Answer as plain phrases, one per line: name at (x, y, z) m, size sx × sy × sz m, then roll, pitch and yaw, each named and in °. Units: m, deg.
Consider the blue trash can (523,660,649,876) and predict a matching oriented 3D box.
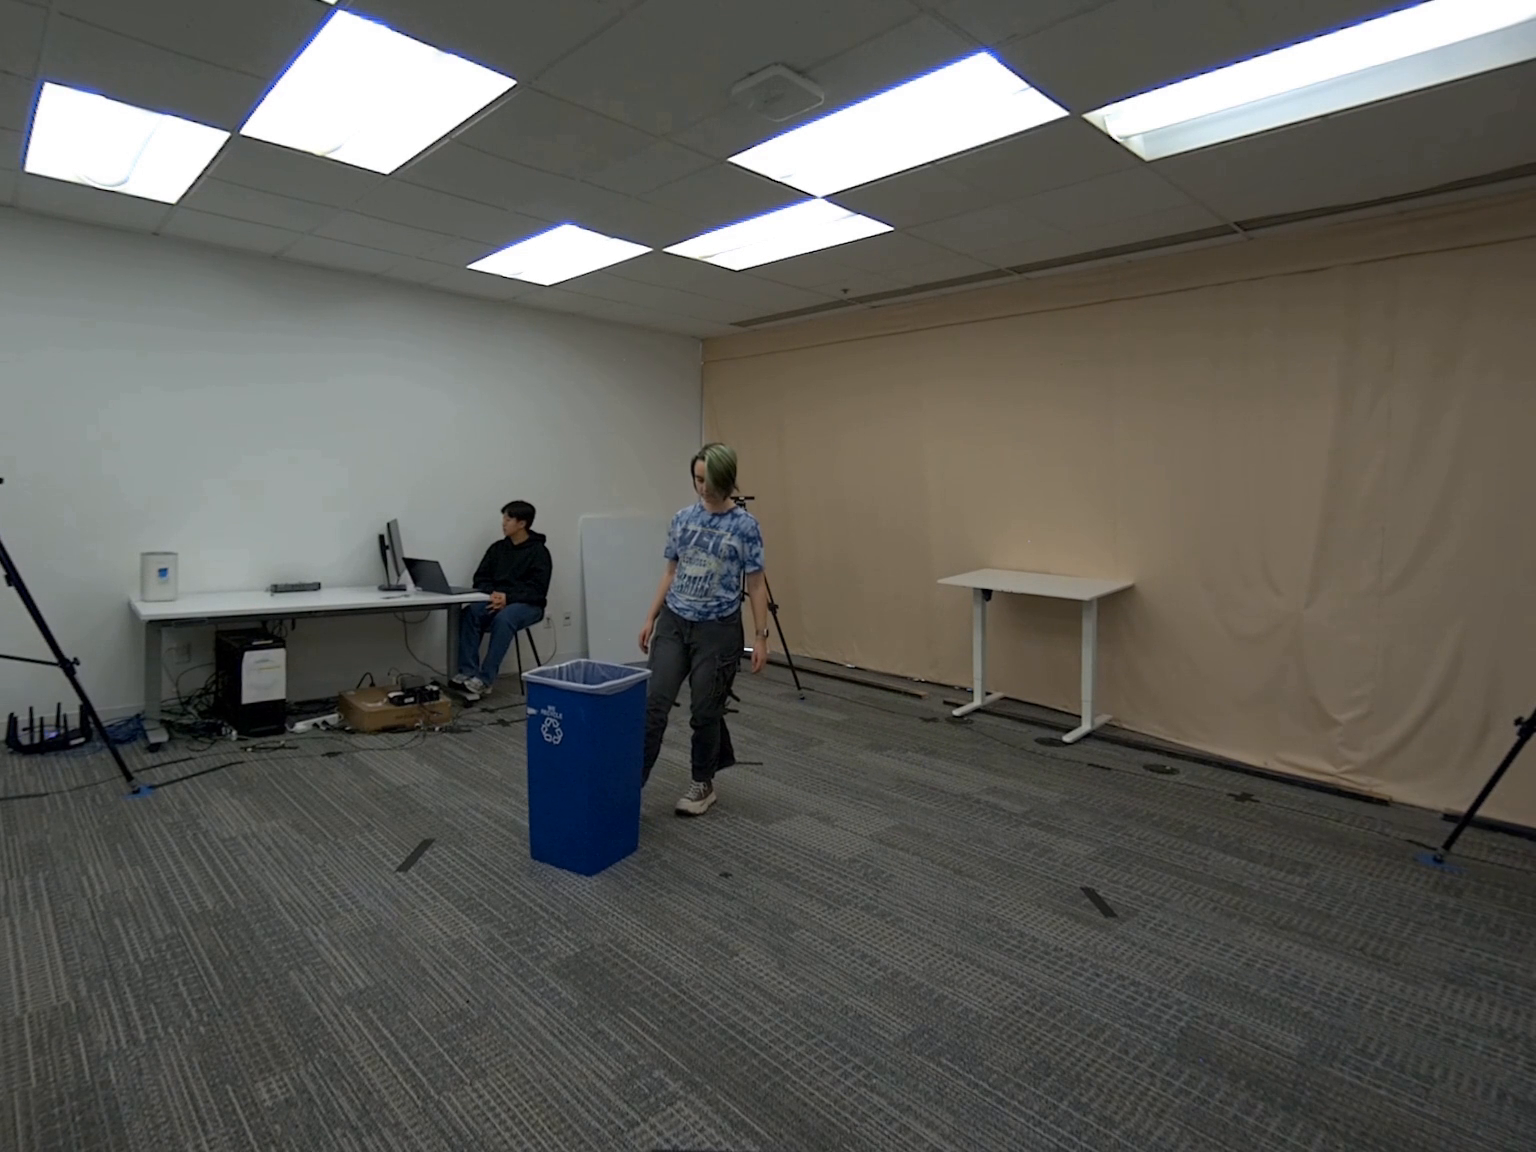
blue trash can at (-0.704, 0.723, 3.237) m, size 0.382 × 0.711 × 0.371 m, roll 3°, pitch 5°, yaw 29°
